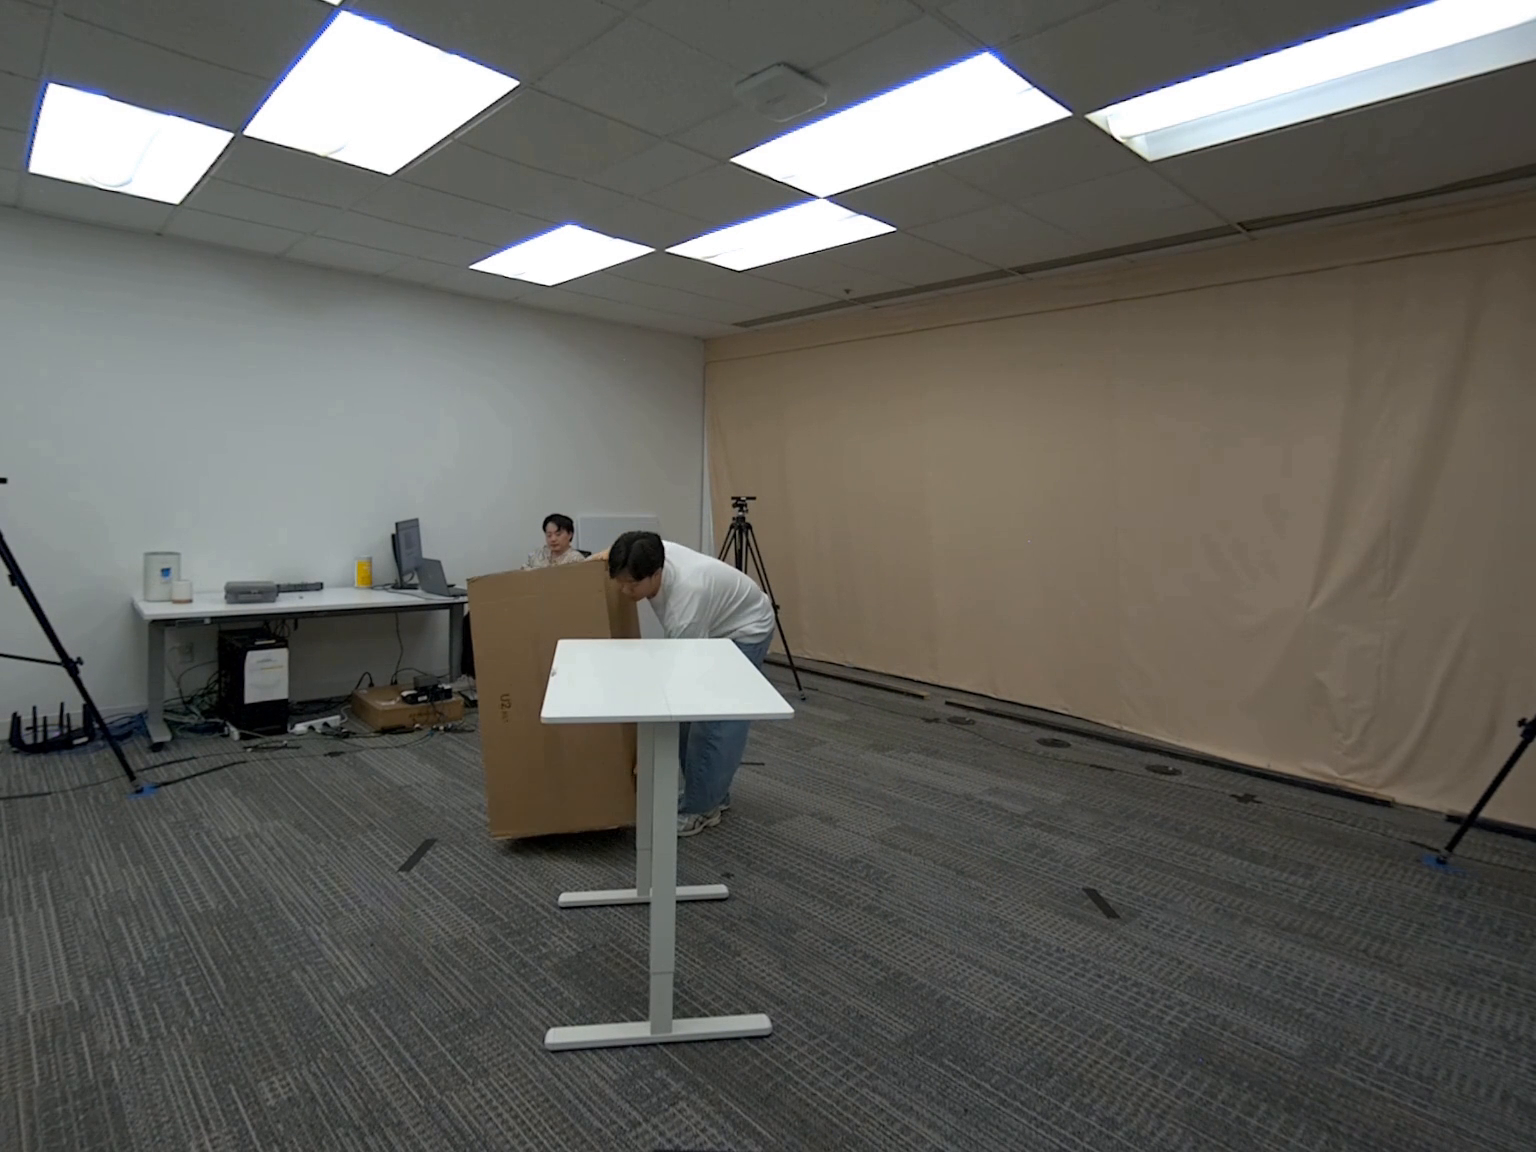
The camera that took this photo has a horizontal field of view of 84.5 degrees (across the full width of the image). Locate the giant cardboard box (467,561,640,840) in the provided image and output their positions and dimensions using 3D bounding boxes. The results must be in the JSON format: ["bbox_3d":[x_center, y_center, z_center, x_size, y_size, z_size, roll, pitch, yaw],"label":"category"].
[{"bbox_3d":[-0.828,0.490,3.466,0.581,1.032,0.421,-8,-7,9],"label":"giant cardboard box"}]
